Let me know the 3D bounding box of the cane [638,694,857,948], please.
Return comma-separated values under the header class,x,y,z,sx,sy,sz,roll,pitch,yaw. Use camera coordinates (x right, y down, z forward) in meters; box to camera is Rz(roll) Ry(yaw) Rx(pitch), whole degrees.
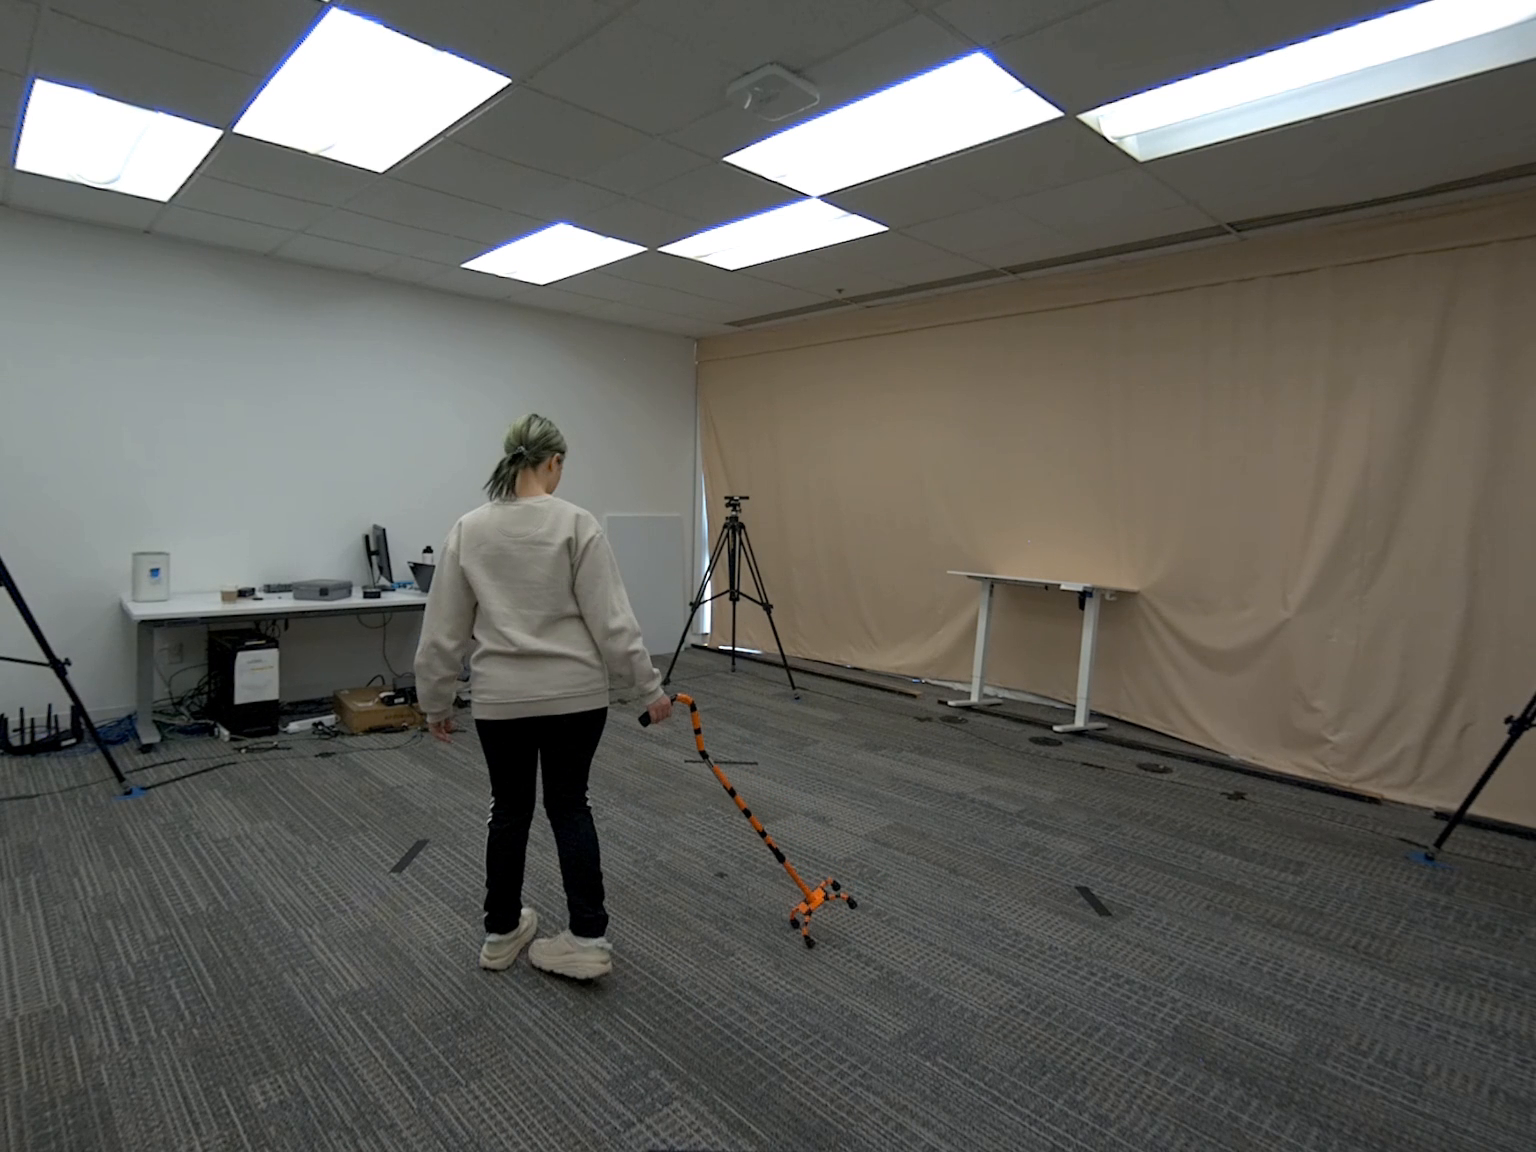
class,x,y,z,sx,sy,sz,roll,pitch,yaw
cane,-0.060,0.732,2.594,0.206,0.895,0.154,-37,14,-13
